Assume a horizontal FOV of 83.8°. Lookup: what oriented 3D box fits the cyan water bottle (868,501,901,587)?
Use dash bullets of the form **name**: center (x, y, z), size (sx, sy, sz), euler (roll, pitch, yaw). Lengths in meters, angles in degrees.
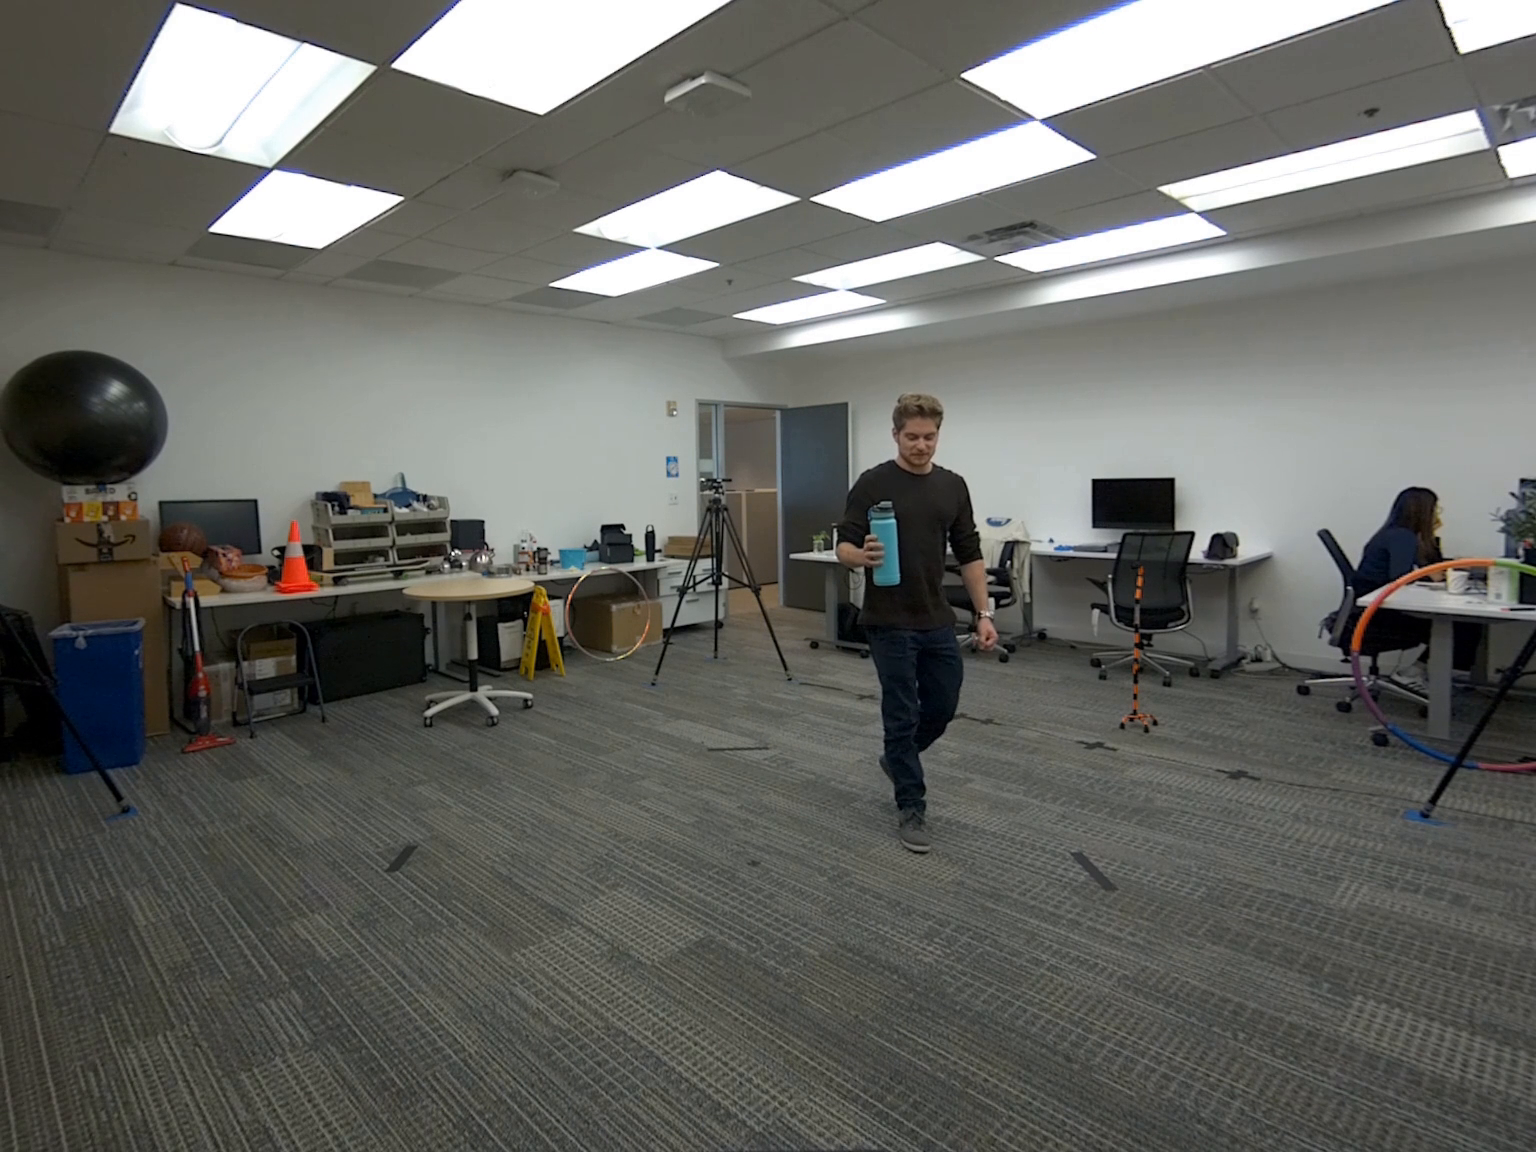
- **cyan water bottle**: center (0.405, -0.115, 2.962), size (0.092, 0.281, 0.093), euler (-6, 6, -1)
